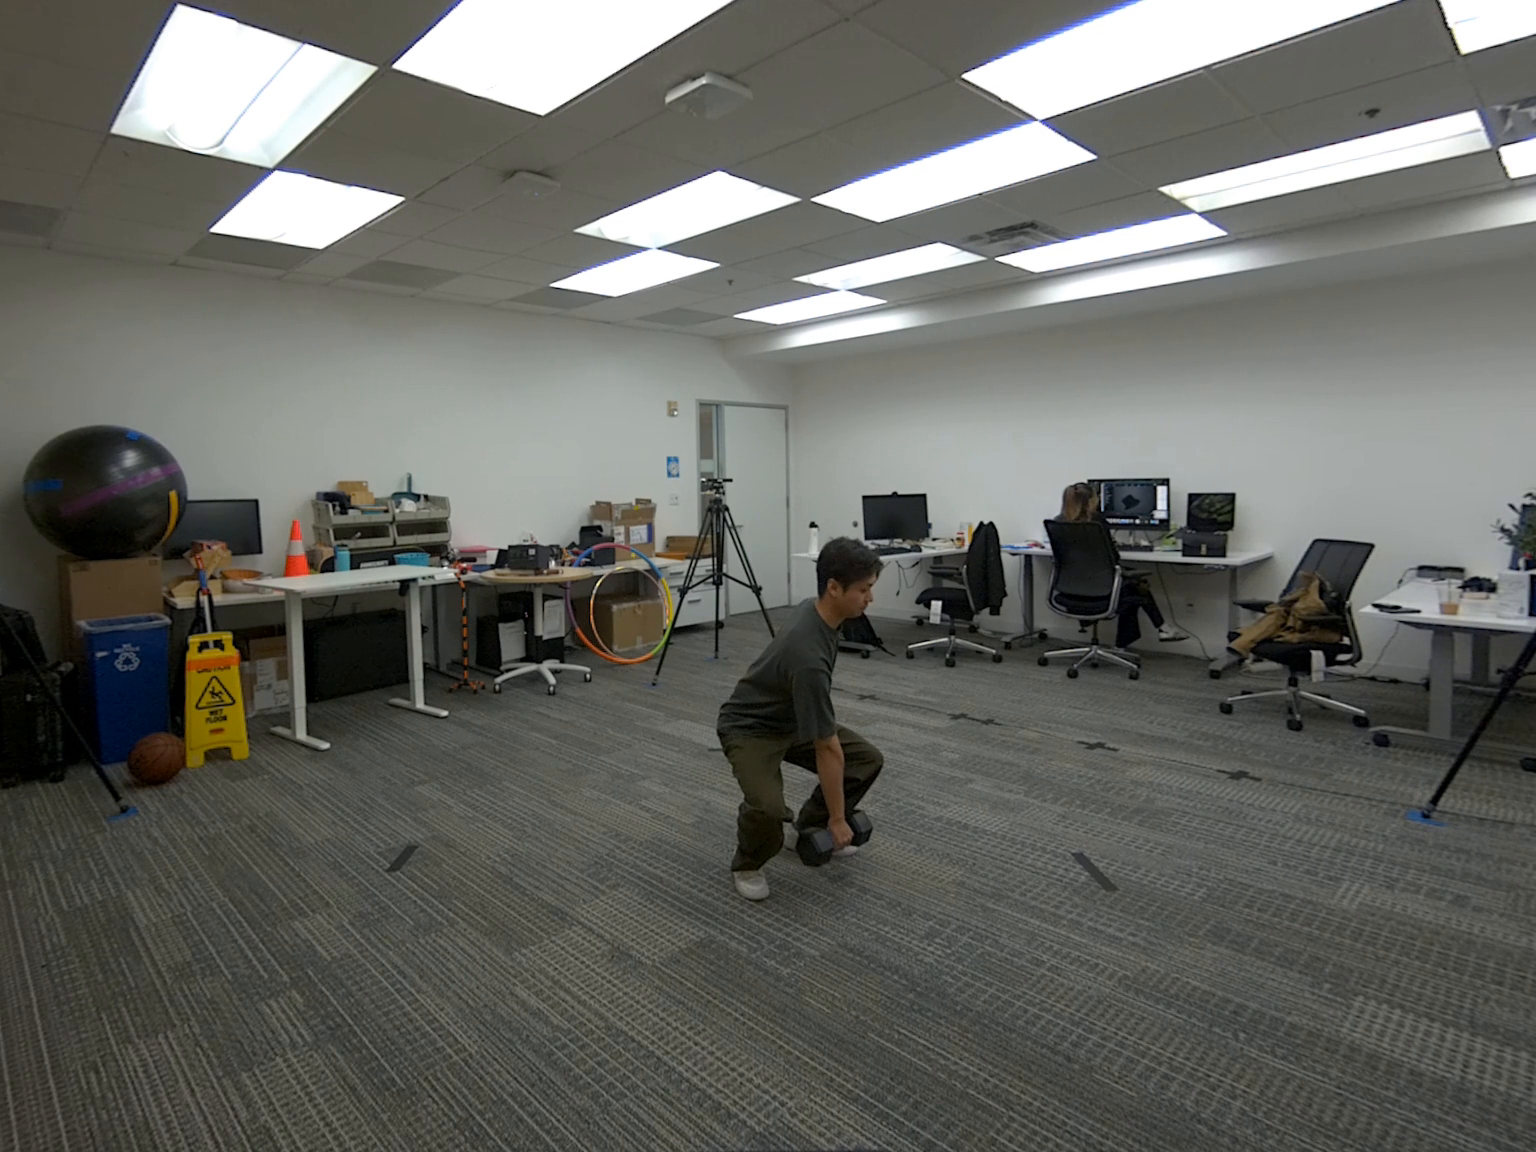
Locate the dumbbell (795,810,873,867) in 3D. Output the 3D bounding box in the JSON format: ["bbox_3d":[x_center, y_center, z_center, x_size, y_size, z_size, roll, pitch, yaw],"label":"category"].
[{"bbox_3d":[0.223,0.885,2.883,0.286,0.121,0.113,-9,29,-45],"label":"dumbbell"}]
